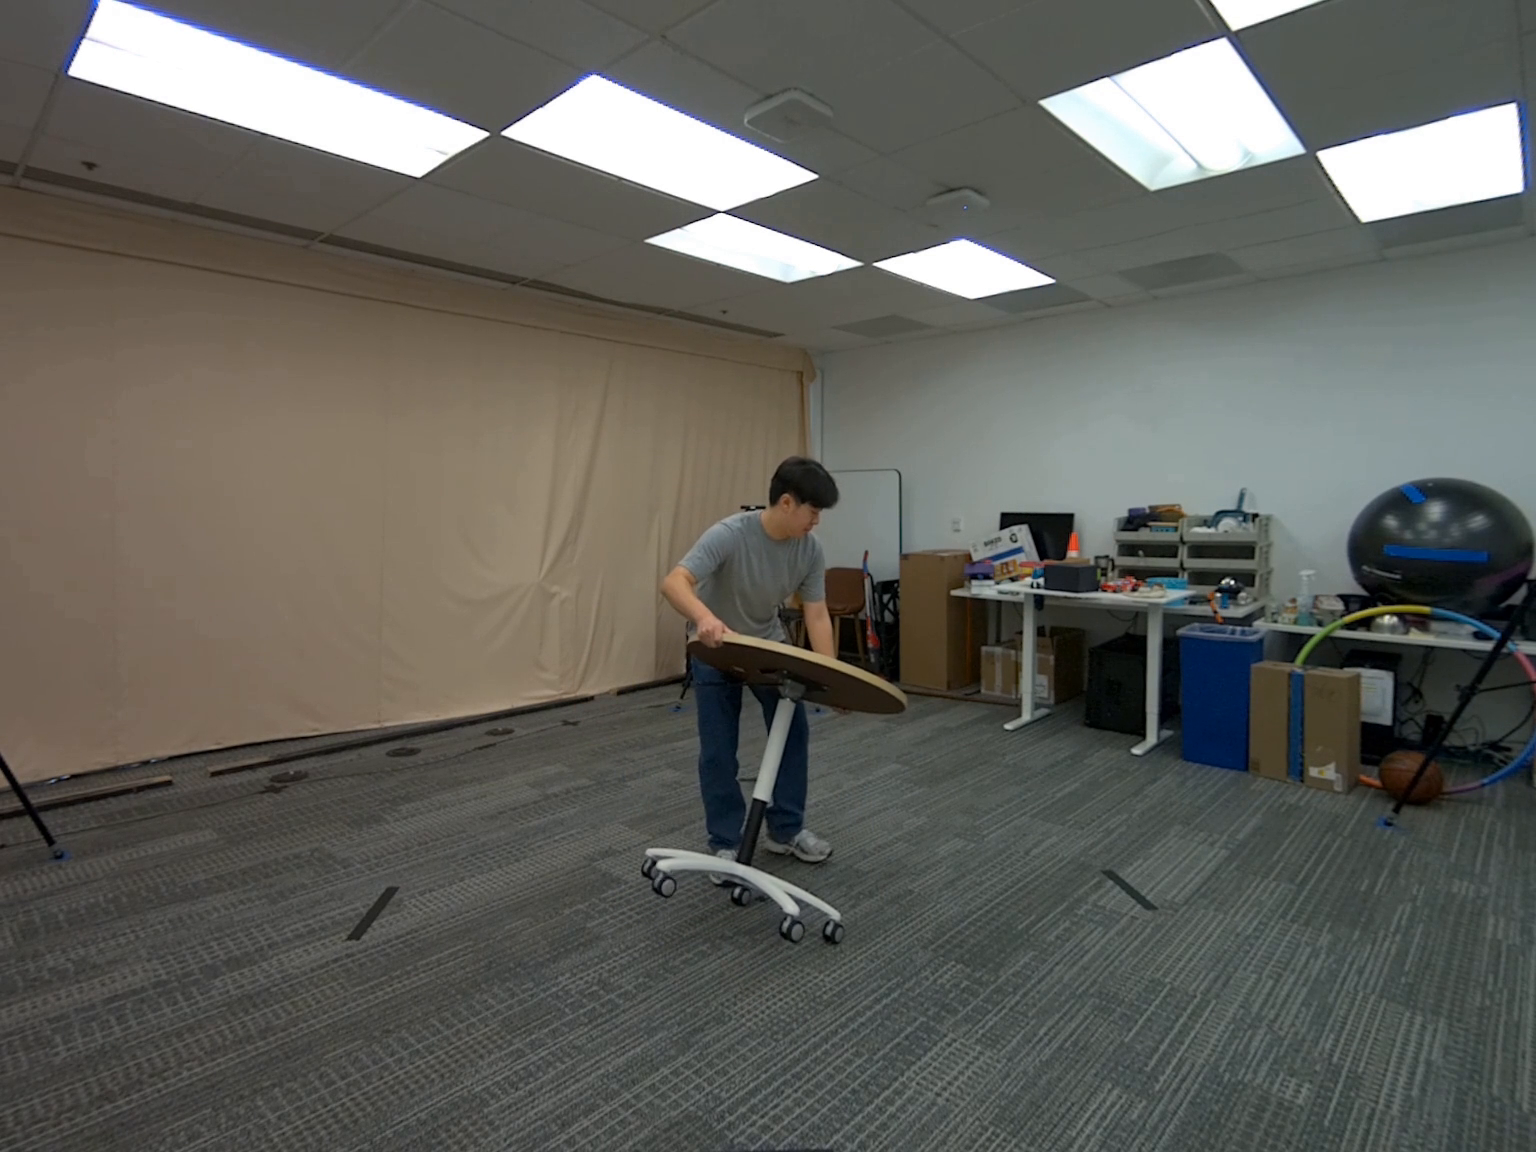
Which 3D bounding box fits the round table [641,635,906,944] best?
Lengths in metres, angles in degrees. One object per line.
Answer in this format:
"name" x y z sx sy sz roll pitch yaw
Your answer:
"round table" -0.003 0.694 2.756 0.768 0.797 0.757 16 -17 3
